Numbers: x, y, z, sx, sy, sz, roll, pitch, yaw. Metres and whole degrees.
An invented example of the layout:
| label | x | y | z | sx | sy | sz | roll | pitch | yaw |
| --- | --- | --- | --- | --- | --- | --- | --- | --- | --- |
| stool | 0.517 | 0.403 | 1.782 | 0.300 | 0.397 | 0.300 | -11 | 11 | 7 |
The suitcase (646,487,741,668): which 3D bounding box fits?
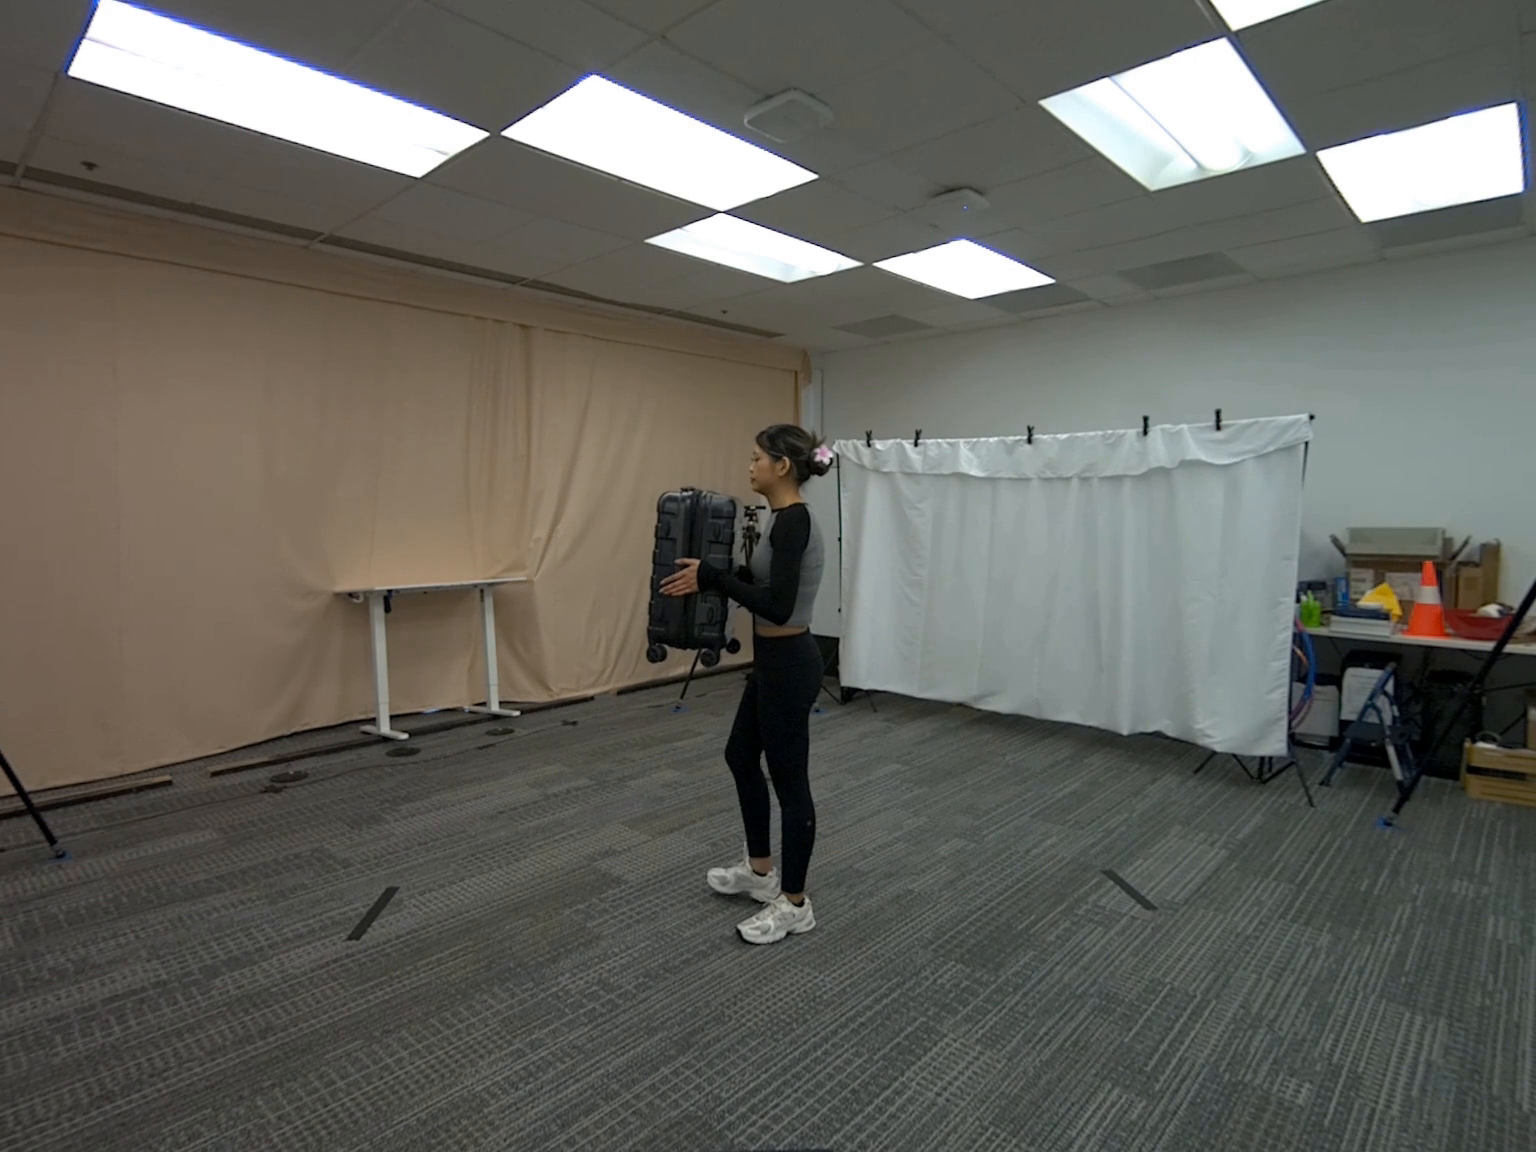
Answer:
| label | x | y | z | sx | sy | sz | roll | pitch | yaw |
| --- | --- | --- | --- | --- | --- | --- | --- | --- | --- |
| suitcase | -0.230 | -0.013 | 2.753 | 0.250 | 0.548 | 0.373 | 4 | 3 | 4 |
